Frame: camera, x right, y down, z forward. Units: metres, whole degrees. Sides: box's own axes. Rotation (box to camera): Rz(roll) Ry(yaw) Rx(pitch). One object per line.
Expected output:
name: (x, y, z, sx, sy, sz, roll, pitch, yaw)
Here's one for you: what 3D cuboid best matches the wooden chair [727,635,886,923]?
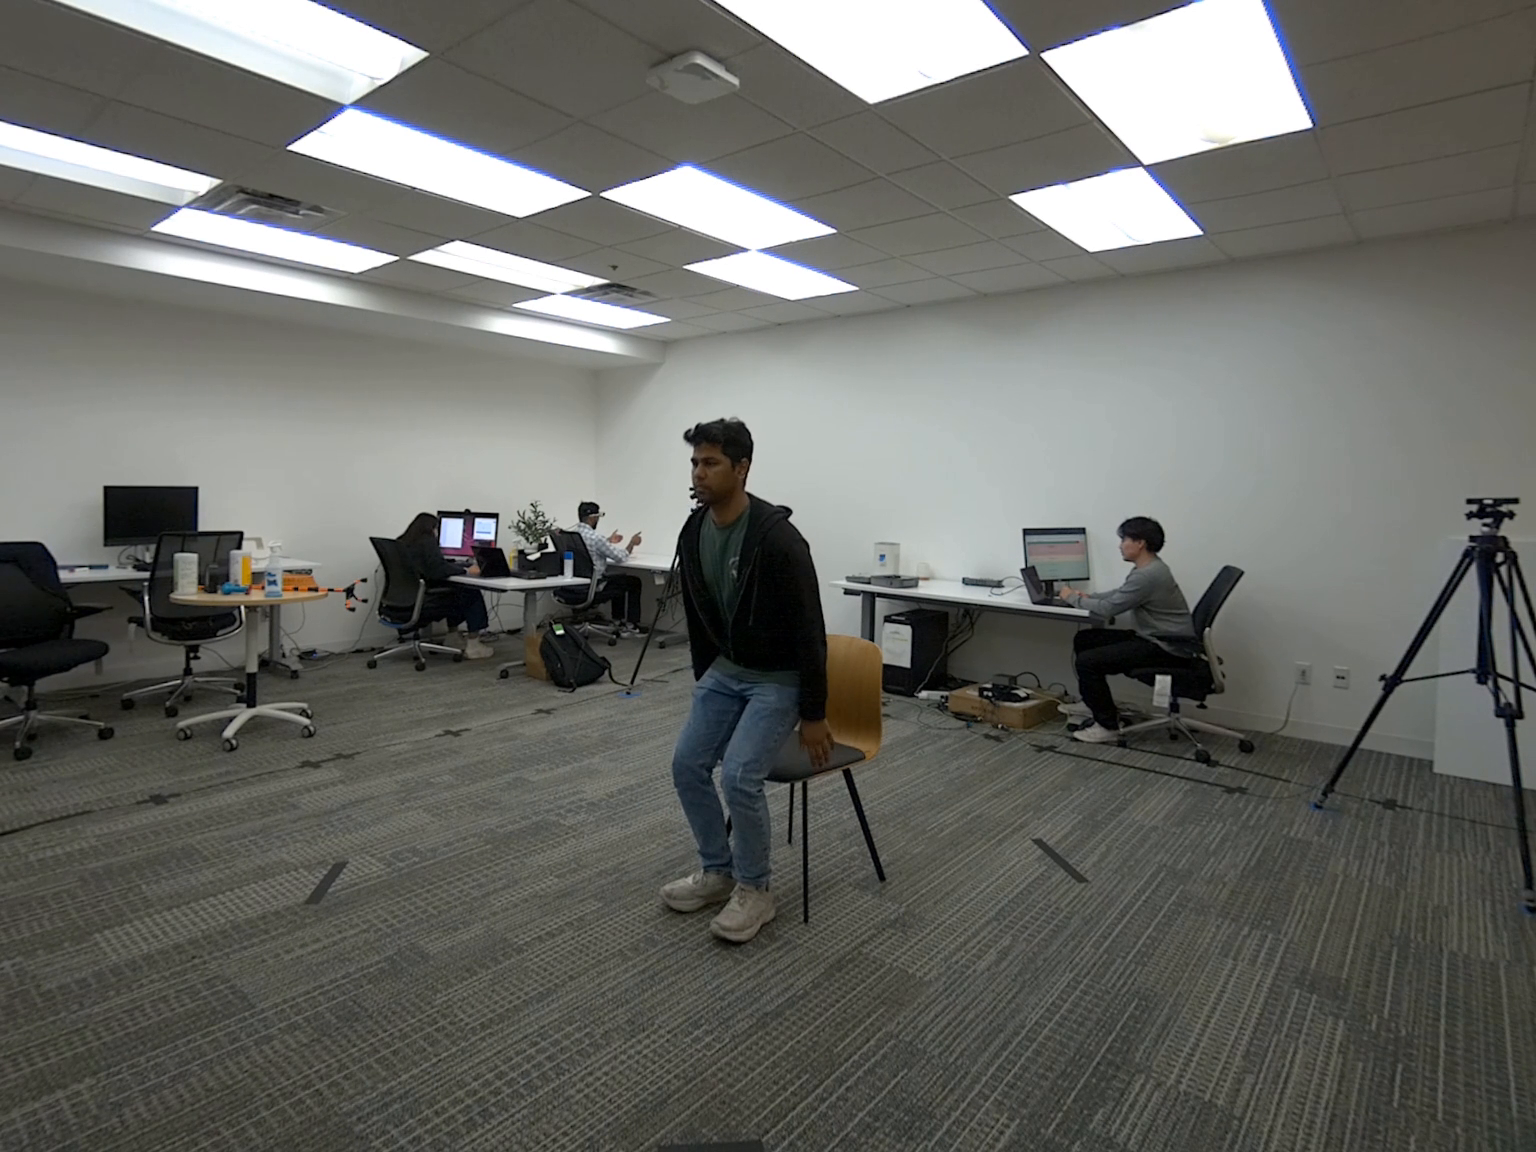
wooden chair: (0.094, 0.651, 3.009, 0.494, 0.877, 0.506, 5, 1, 44)
